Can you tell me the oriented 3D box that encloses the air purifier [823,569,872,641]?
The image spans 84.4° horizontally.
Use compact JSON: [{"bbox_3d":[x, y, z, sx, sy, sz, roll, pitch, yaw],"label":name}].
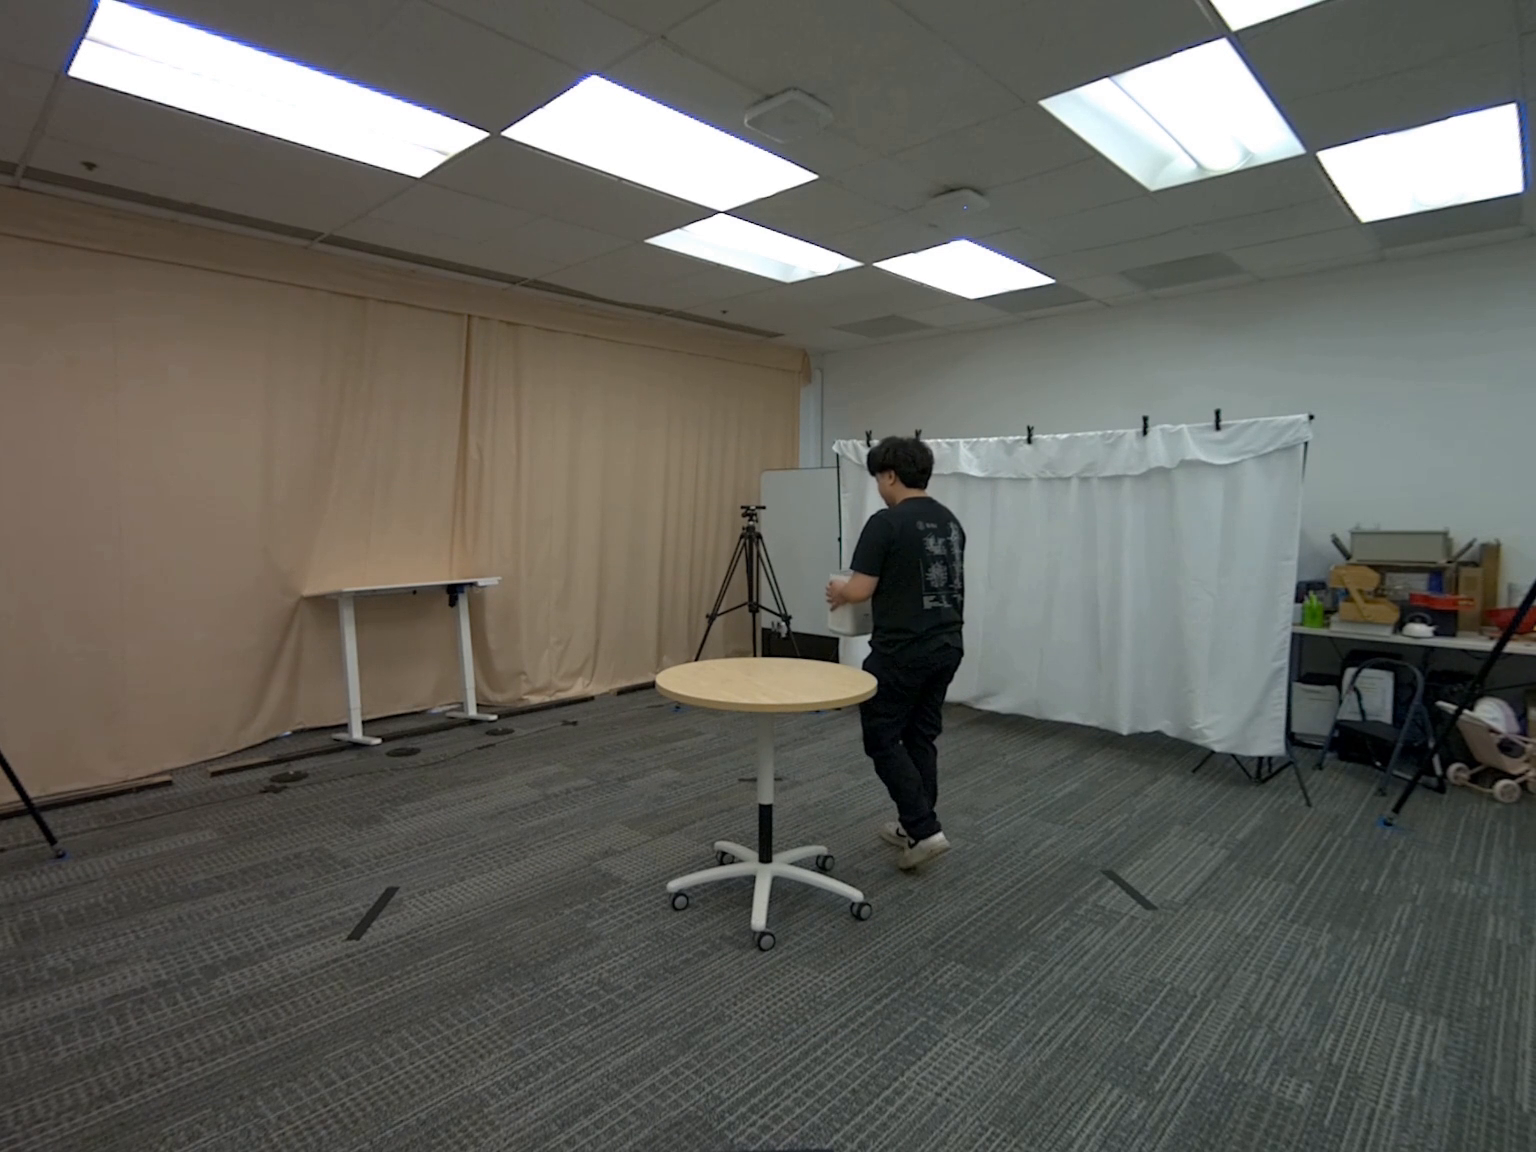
[{"bbox_3d":[0.364,0.116,3.594,0.166,0.264,0.177,-3,8,-37],"label":"air purifier"}]
